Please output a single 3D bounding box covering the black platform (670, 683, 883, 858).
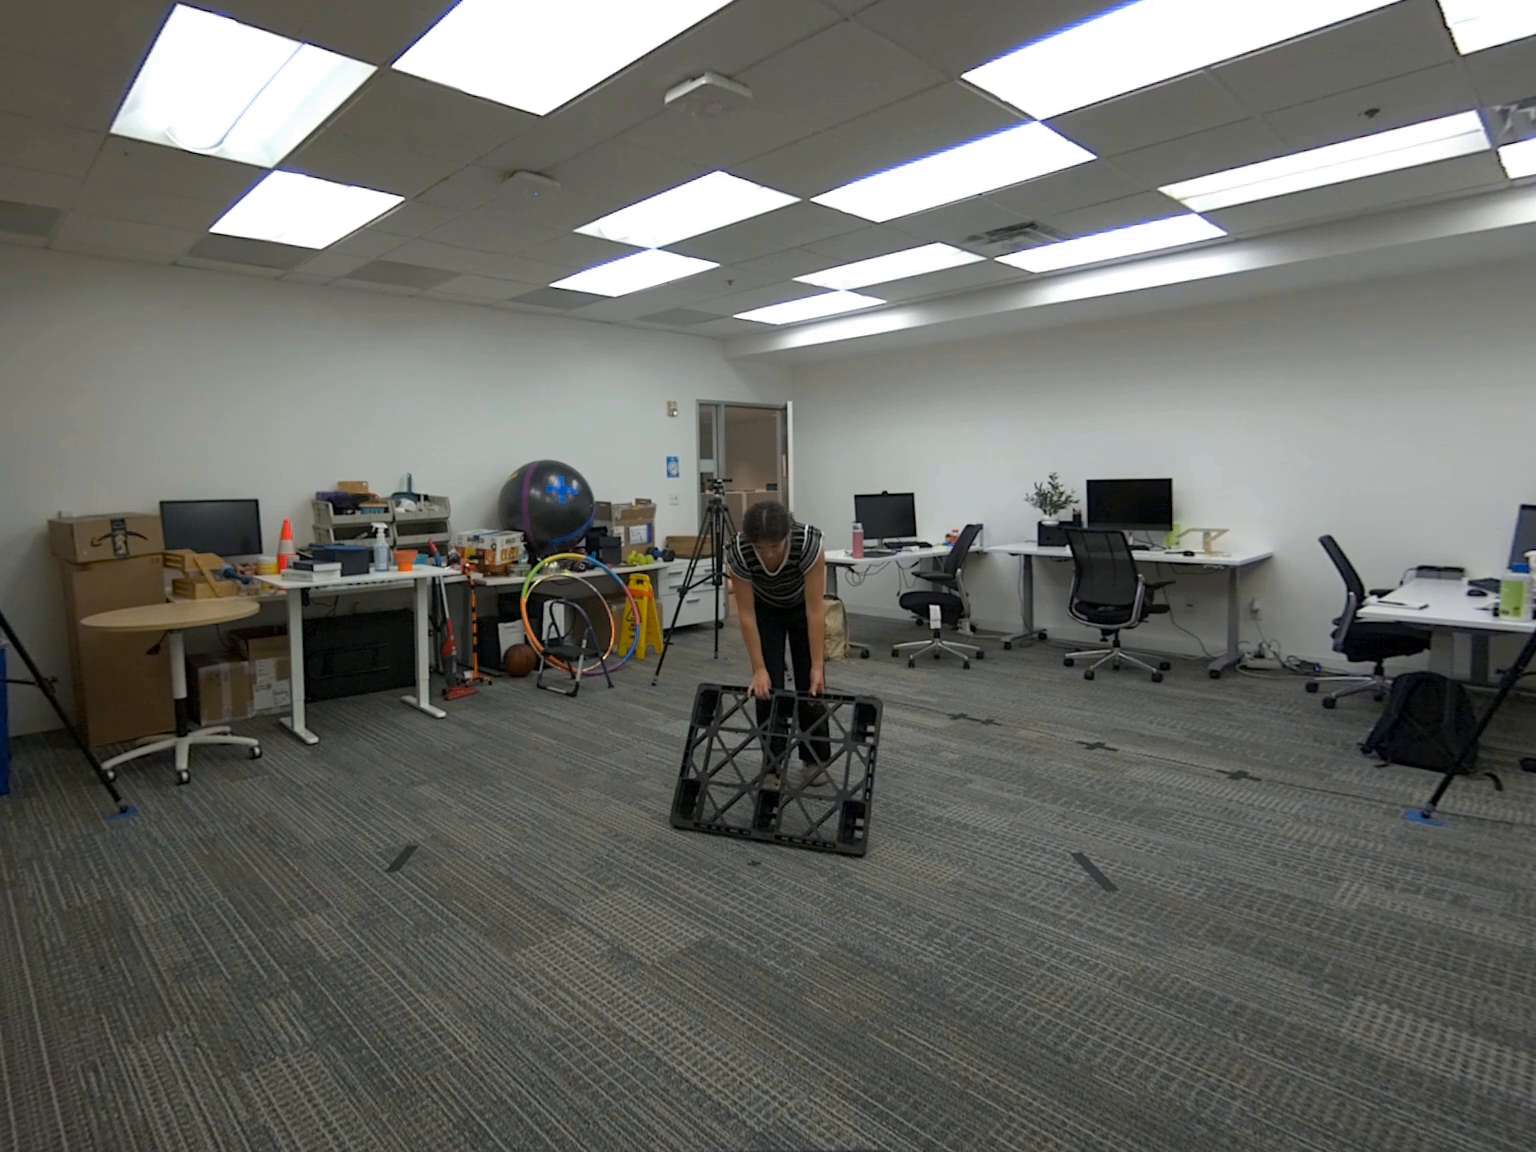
[{"bbox_3d":[0.048,0.769,3.450,0.822,0.615,0.138,1,-26,22],"label":"black platform"}]
